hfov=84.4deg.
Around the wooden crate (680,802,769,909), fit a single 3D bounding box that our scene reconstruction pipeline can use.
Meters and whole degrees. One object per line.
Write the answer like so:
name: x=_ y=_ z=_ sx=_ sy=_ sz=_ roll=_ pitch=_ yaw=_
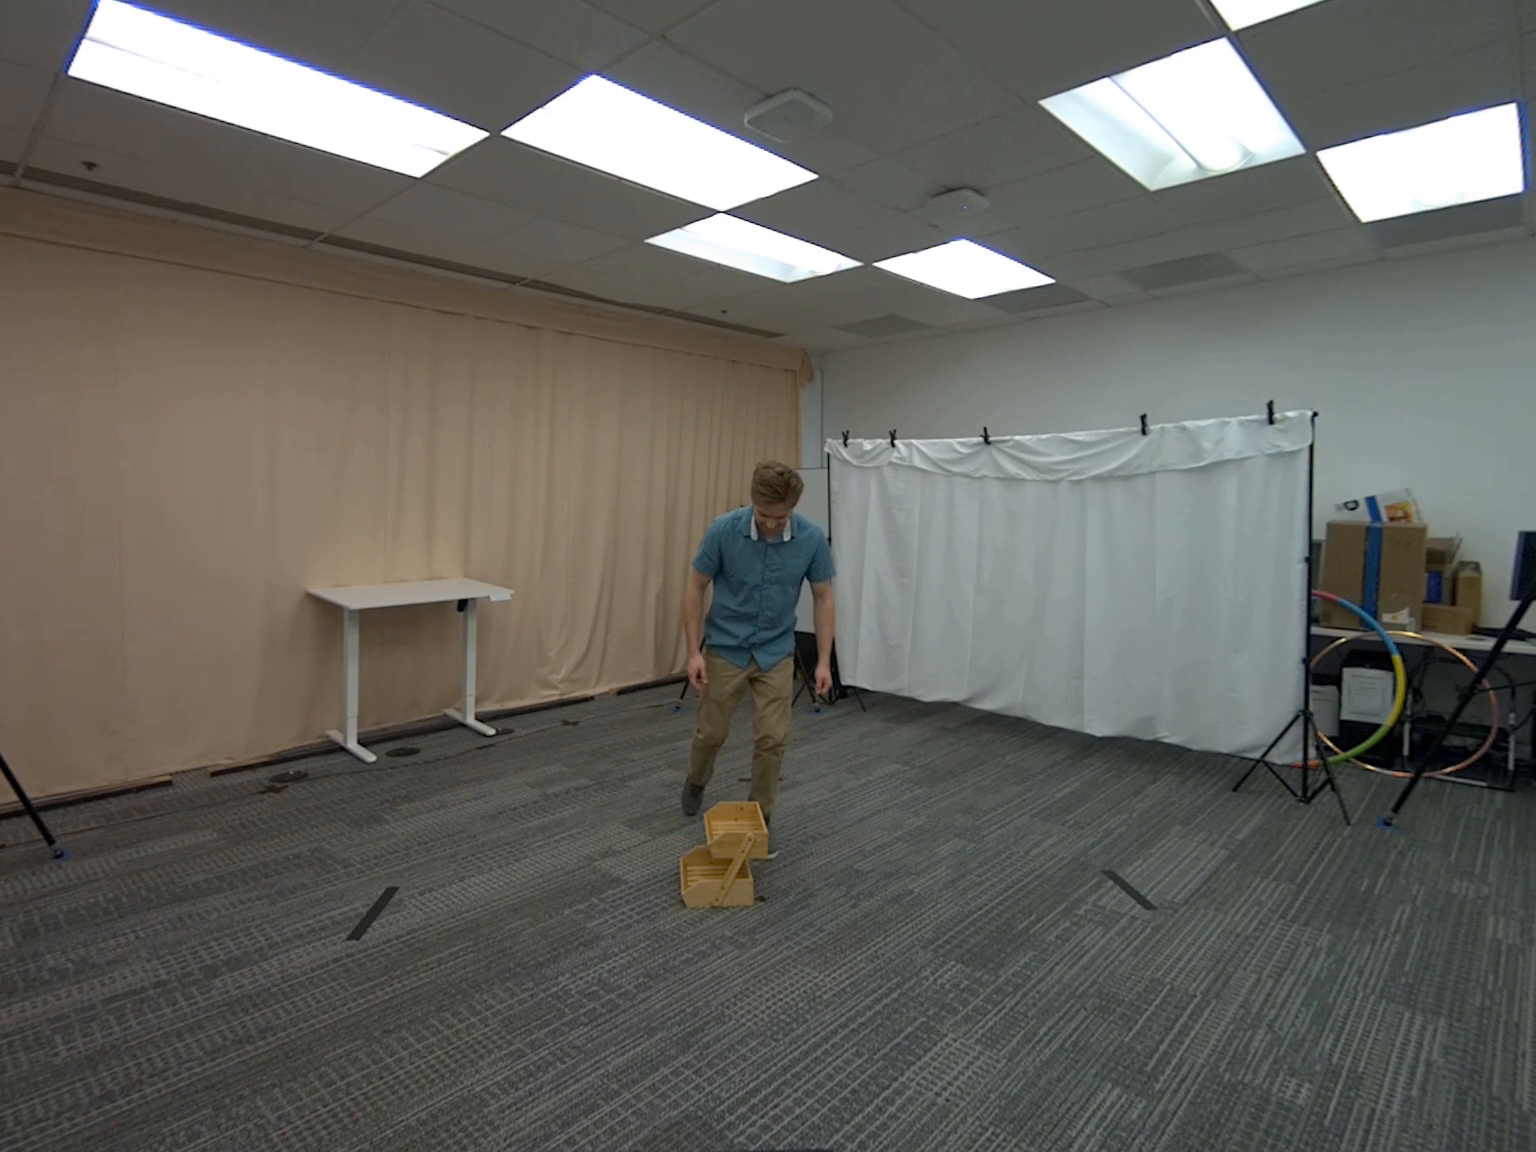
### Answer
wooden crate: x=-0.172 y=1.005 z=3.067 sx=0.300 sy=0.273 sz=0.327 roll=-1 pitch=4 yaw=-6
